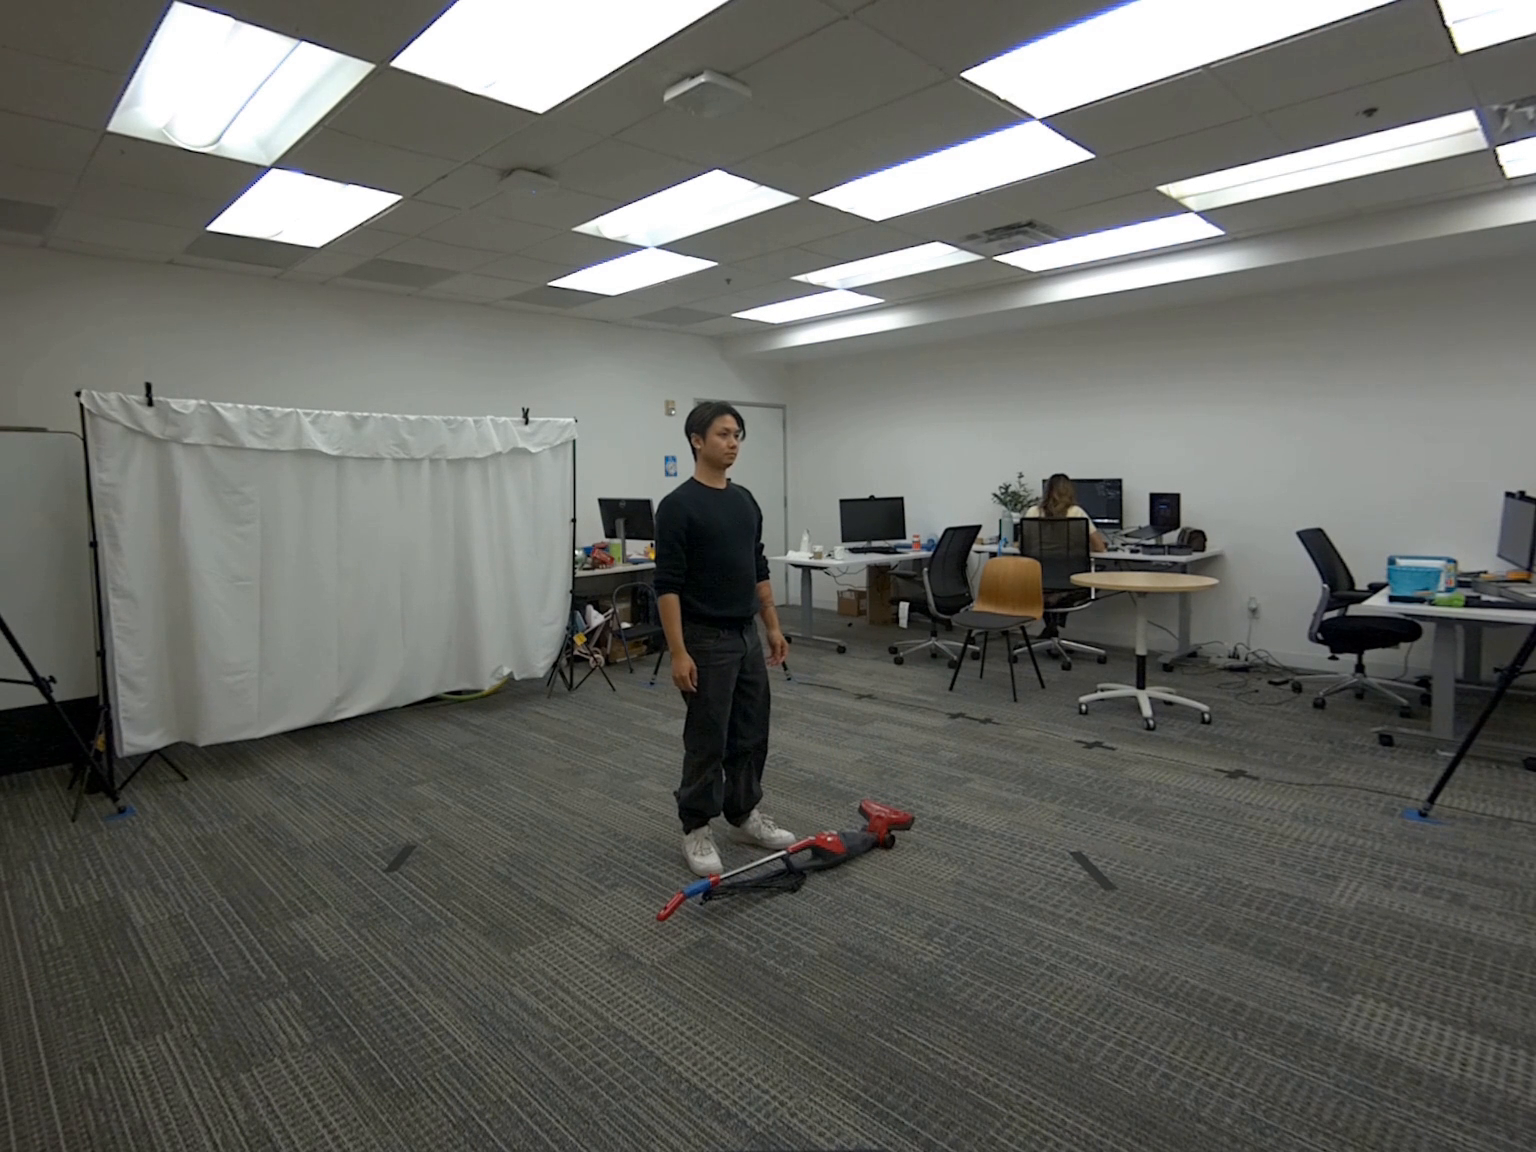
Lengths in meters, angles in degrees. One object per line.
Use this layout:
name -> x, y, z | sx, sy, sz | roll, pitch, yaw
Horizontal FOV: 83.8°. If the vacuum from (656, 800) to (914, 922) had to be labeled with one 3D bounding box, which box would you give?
vacuum -> 0.061, 0.995, 2.926 | 1.023, 0.143, 0.260 | -7, 6, -40
